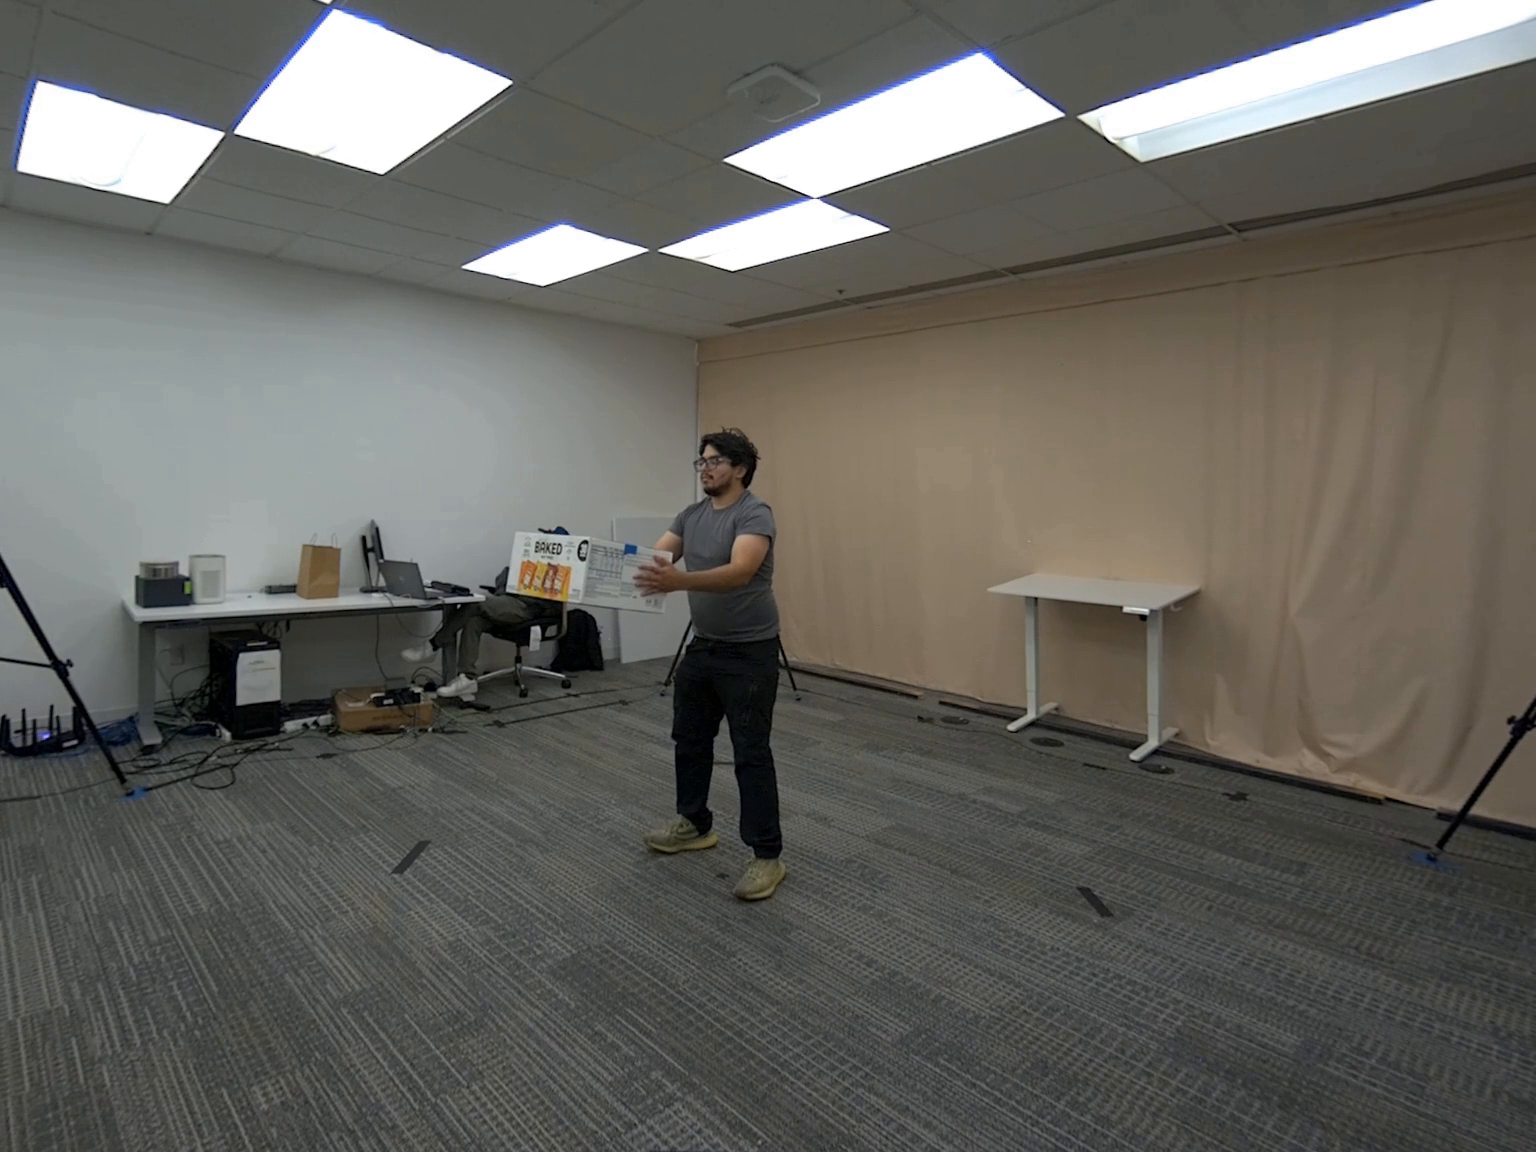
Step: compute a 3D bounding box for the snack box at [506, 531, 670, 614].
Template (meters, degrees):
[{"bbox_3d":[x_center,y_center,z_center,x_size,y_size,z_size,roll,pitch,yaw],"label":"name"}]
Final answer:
[{"bbox_3d":[-0.592,-0.009,2.737,0.415,0.206,0.331,5,-3,42],"label":"snack box"}]
